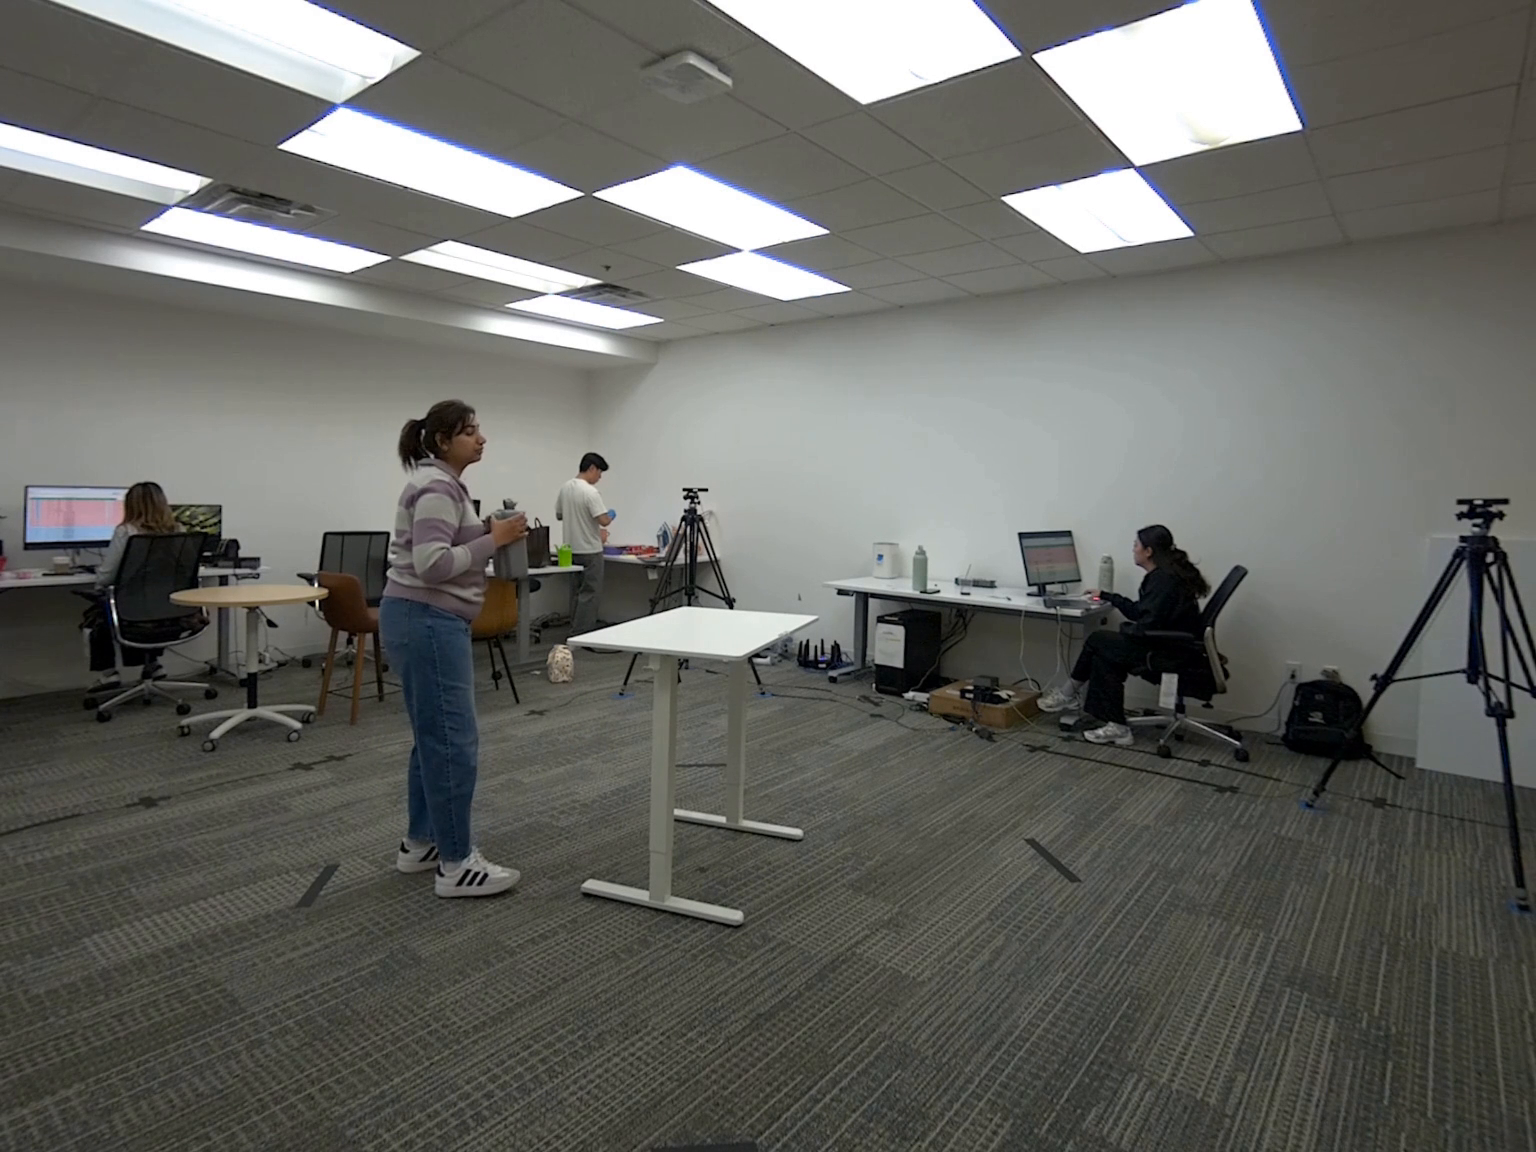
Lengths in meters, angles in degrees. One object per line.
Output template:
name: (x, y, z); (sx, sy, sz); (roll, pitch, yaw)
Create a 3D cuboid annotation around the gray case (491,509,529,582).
gray case: (-0.968, -0.119, 3.113); (0.102, 0.259, 0.263); (-1, 5, -19)
